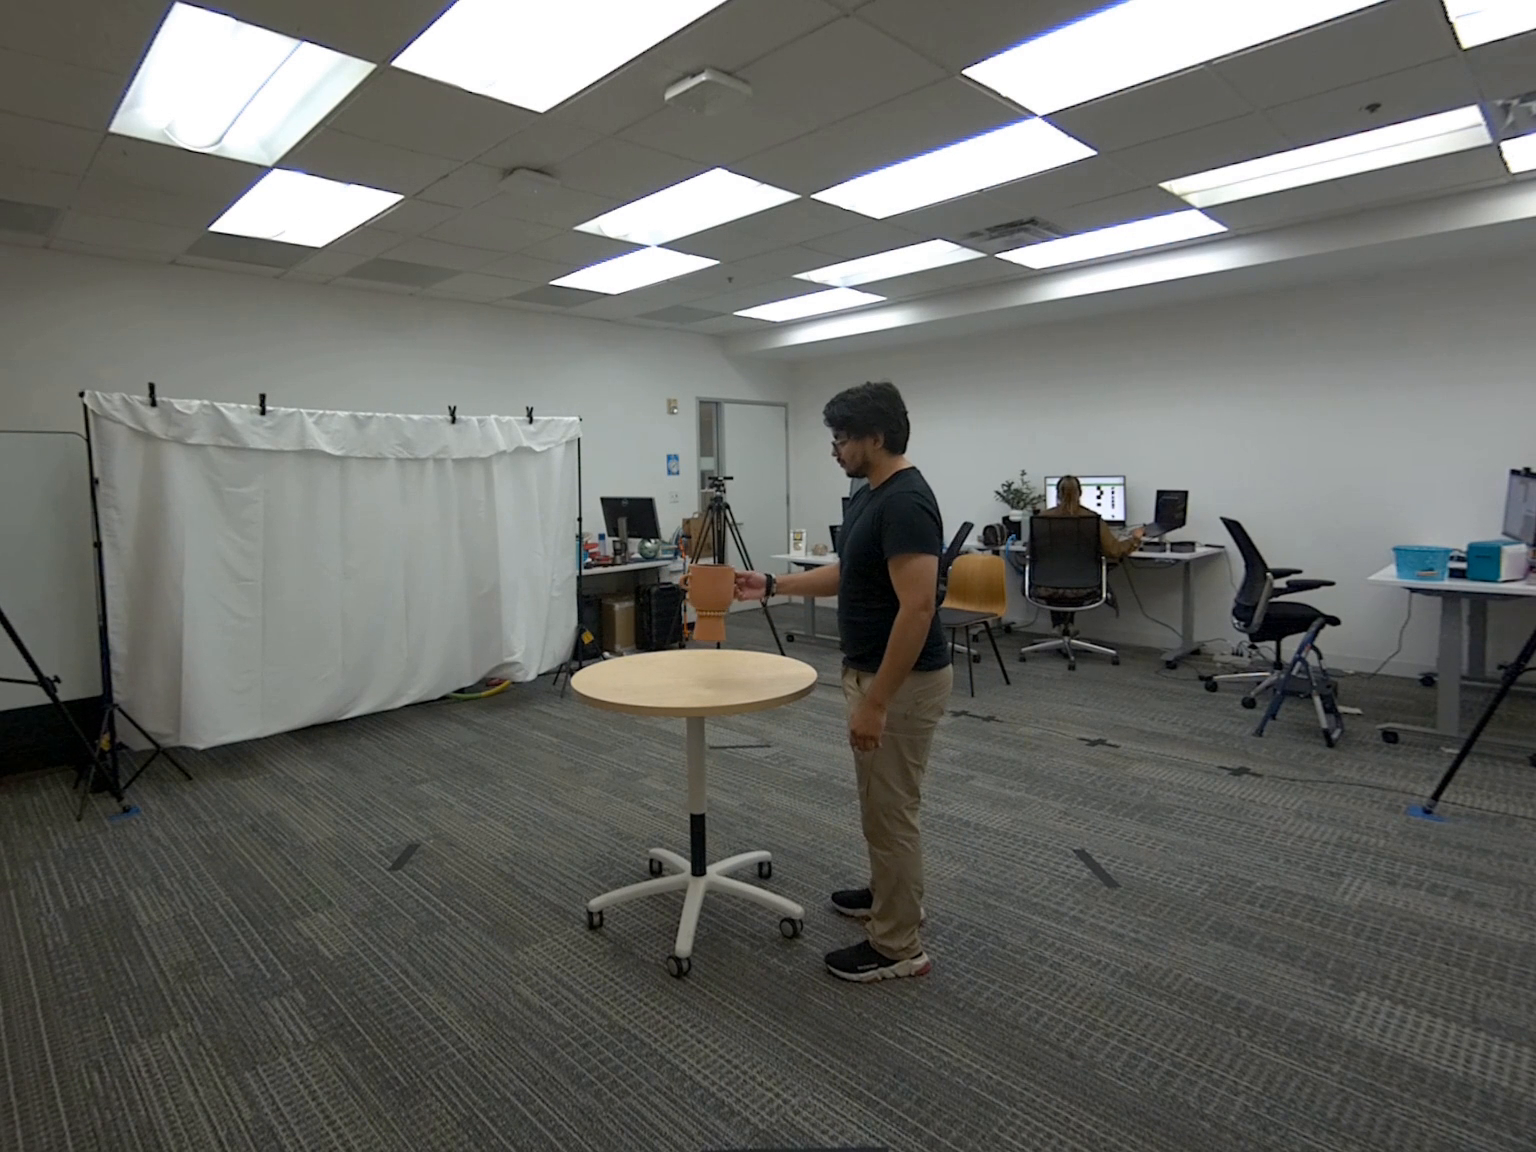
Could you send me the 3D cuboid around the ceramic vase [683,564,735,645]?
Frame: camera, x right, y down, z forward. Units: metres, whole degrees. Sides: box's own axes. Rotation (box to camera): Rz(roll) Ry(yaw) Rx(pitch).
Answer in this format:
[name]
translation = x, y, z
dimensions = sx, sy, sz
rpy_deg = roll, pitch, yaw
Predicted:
[ceramic vase]
translation = -0.159, 0.078, 2.526
dimensions = 0.162, 0.219, 0.132
rpy_deg = 3, 3, 20
